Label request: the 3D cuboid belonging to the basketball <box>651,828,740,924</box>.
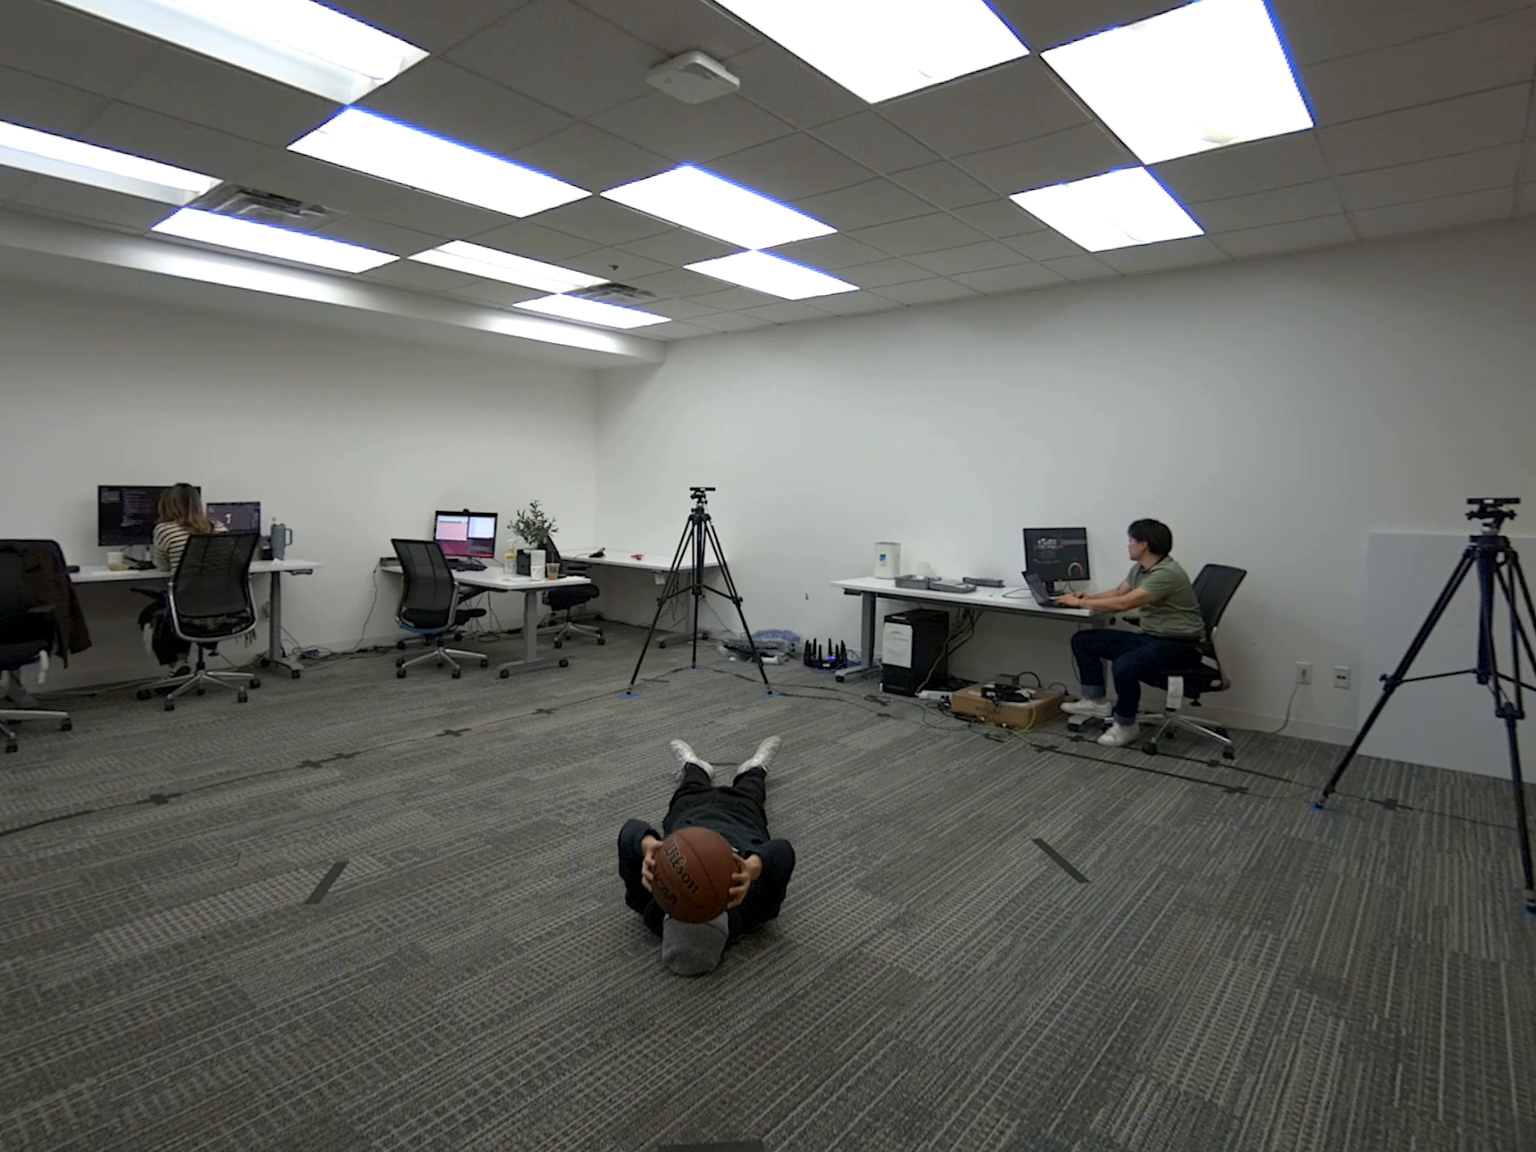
[{"bbox_3d":[-0.203,0.788,2.260,0.235,0.235,0.237,1,4,-2],"label":"basketball"}]
